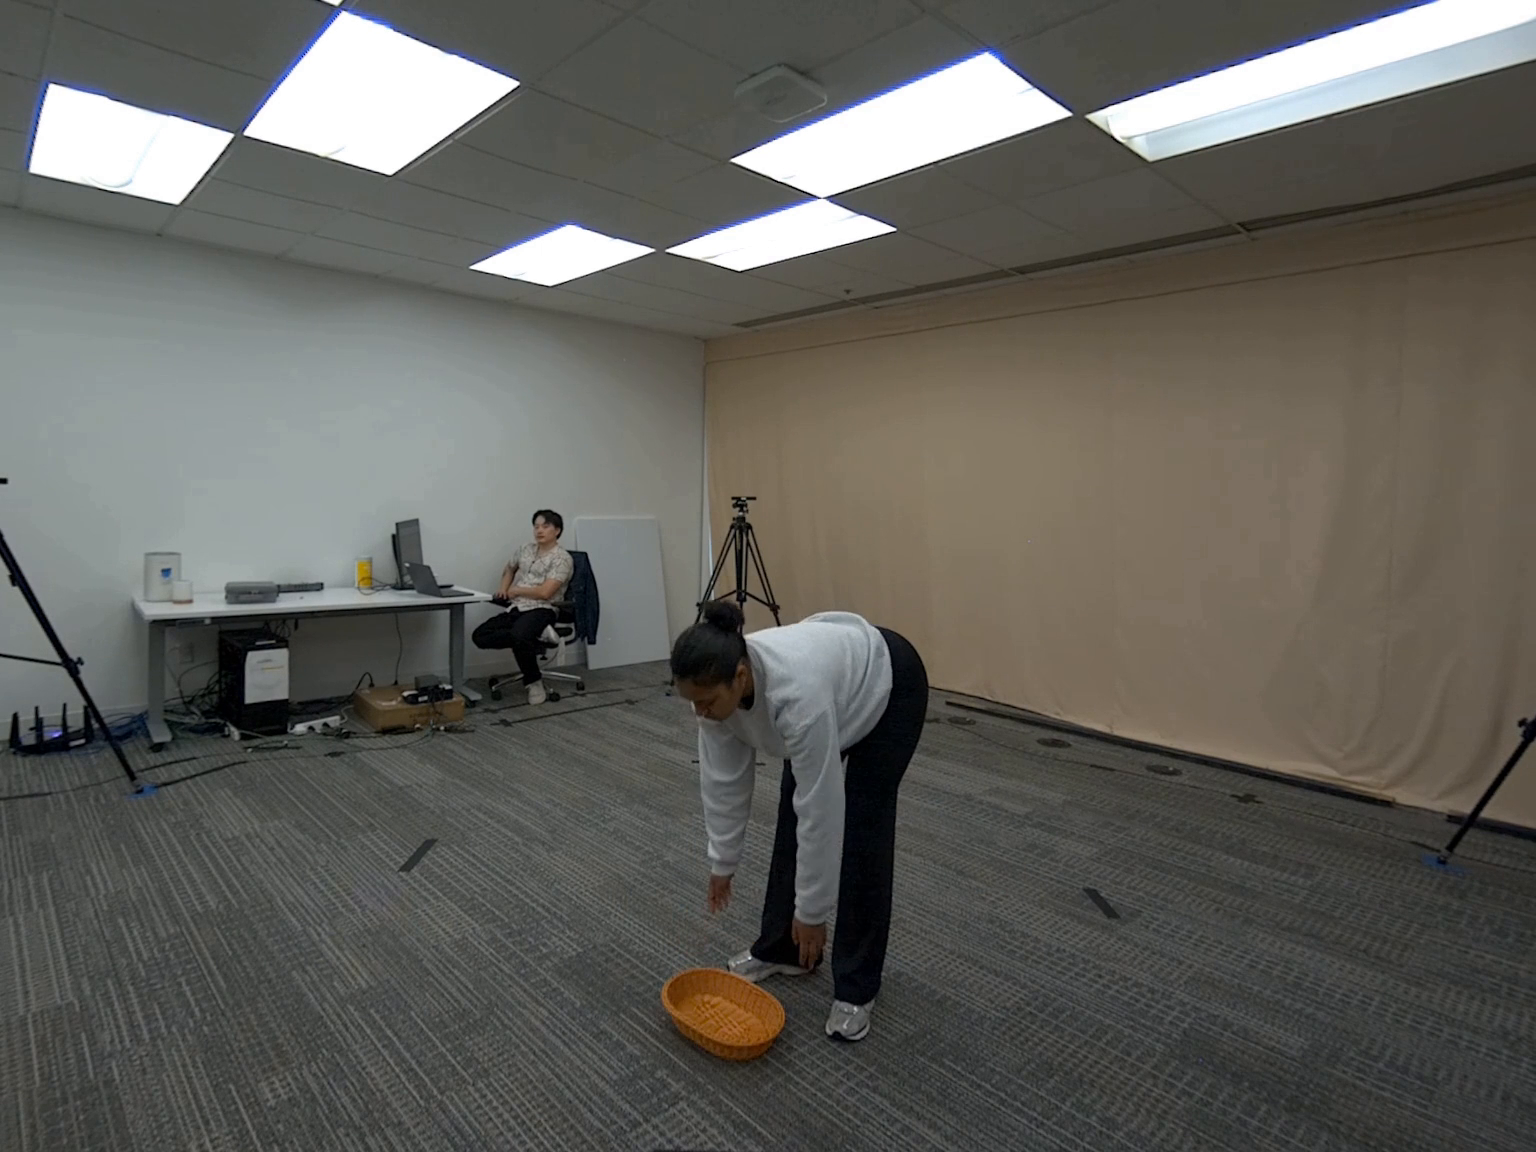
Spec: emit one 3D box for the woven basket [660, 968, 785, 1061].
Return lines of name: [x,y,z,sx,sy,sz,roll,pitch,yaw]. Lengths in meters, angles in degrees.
woven basket: [-0.124,1.141,2.199,0.360,0.073,0.247,8,8,42]
